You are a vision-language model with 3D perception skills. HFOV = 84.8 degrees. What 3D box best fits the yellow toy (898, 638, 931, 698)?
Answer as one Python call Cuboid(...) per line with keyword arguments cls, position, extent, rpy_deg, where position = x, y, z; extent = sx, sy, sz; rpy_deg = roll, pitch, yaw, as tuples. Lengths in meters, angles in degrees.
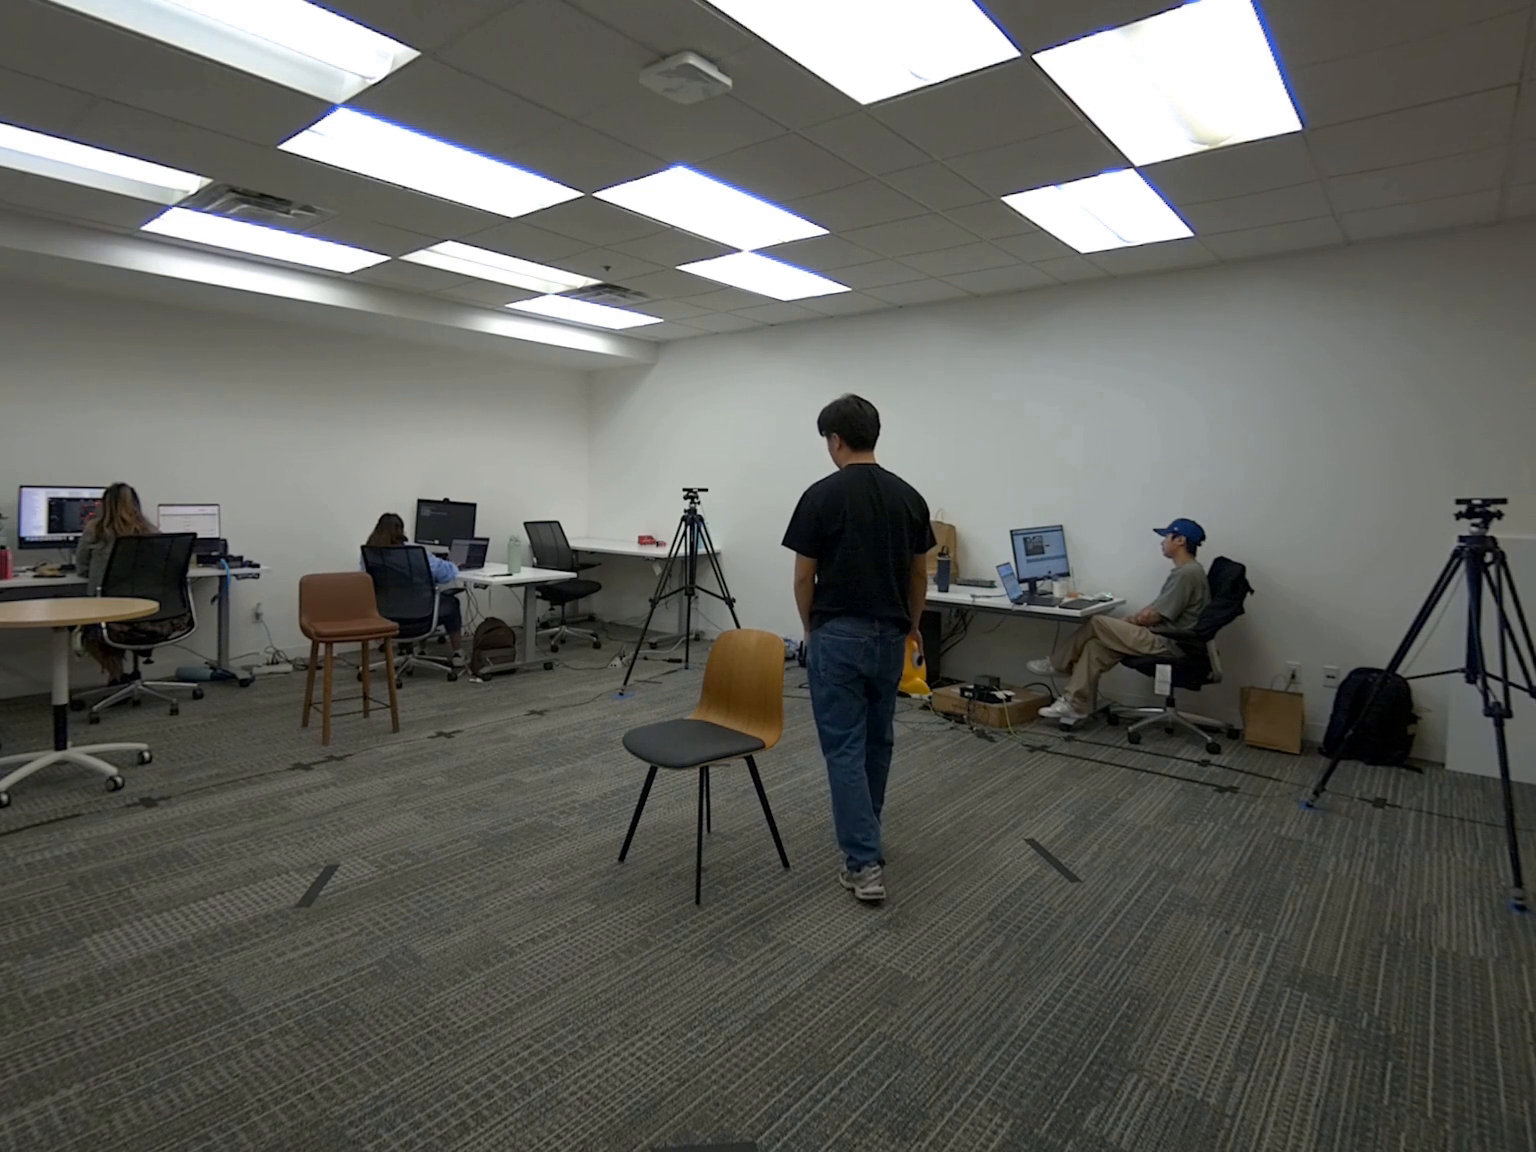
Cuboid(cls="yellow toy", position=(0.562, 0.330, 3.438), extent=(0.189, 0.229, 0.210), rpy_deg=(8, 9, -18))
